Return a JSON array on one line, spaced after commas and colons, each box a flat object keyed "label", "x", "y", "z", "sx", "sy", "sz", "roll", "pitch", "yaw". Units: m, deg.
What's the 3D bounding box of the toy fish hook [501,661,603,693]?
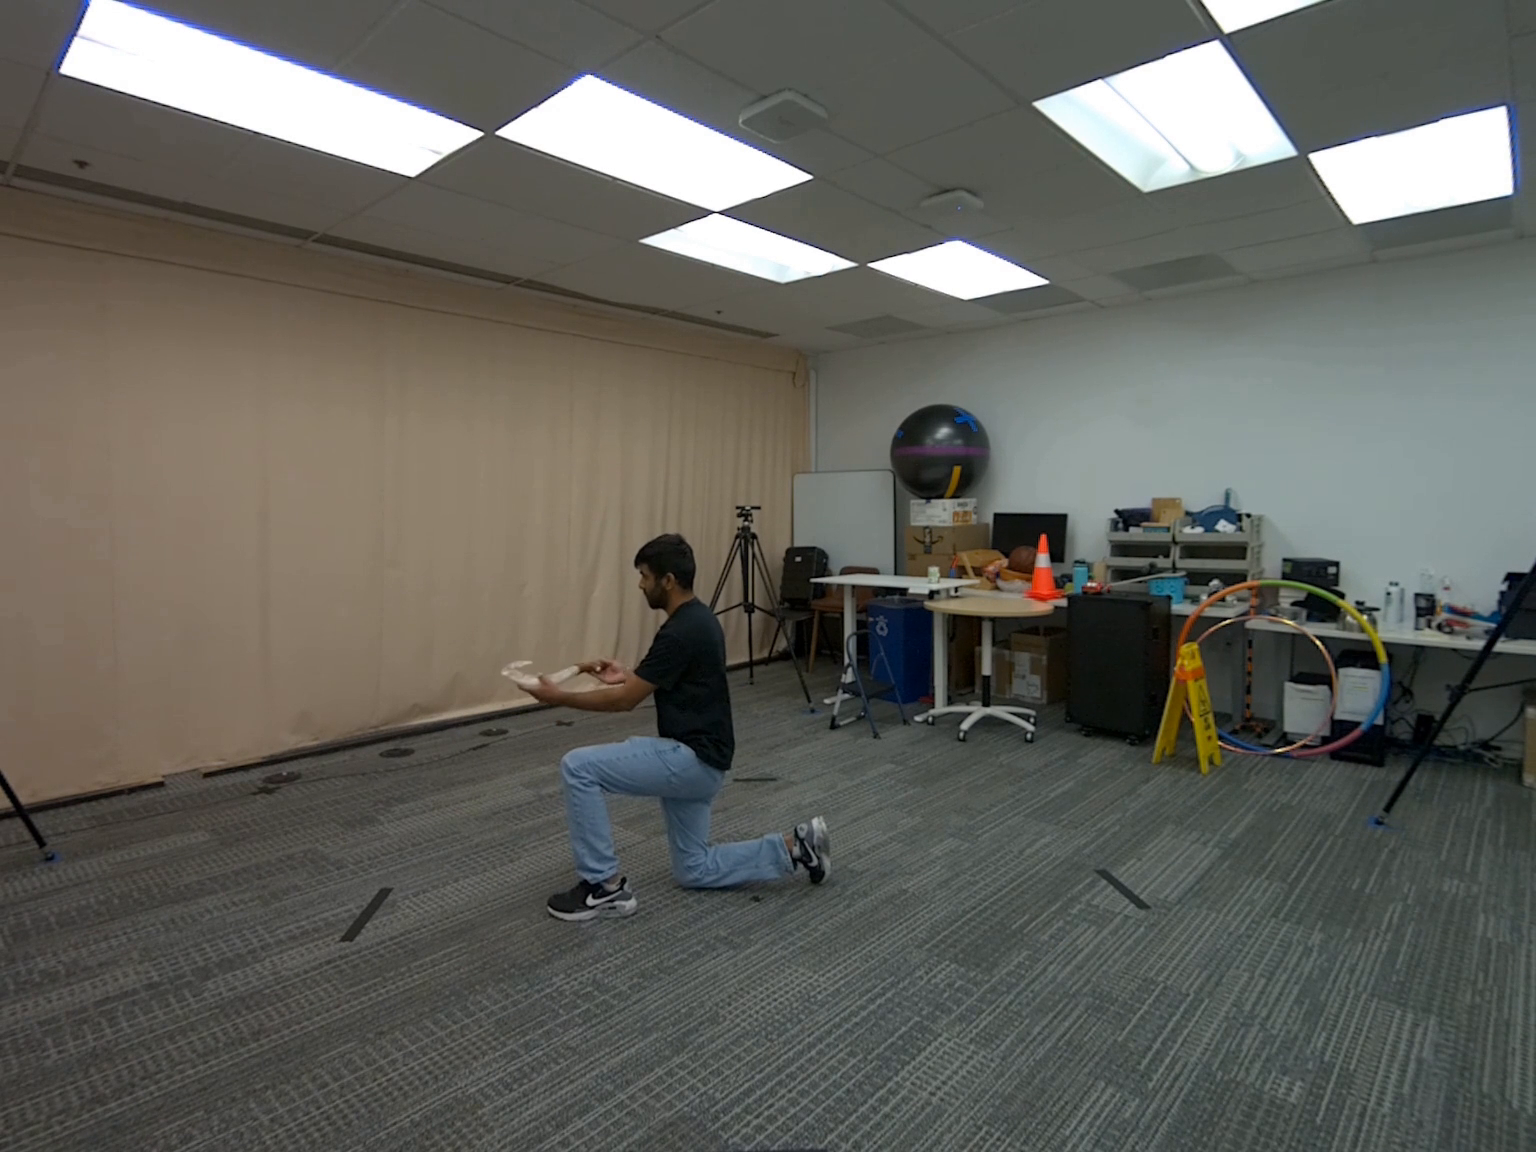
[{"label": "toy fish hook", "x": -0.784, "y": 0.355, "z": 3.231, "sx": 0.231, "sy": 0.048, "sz": 0.494, "roll": 20, "pitch": 11, "yaw": 25}]
